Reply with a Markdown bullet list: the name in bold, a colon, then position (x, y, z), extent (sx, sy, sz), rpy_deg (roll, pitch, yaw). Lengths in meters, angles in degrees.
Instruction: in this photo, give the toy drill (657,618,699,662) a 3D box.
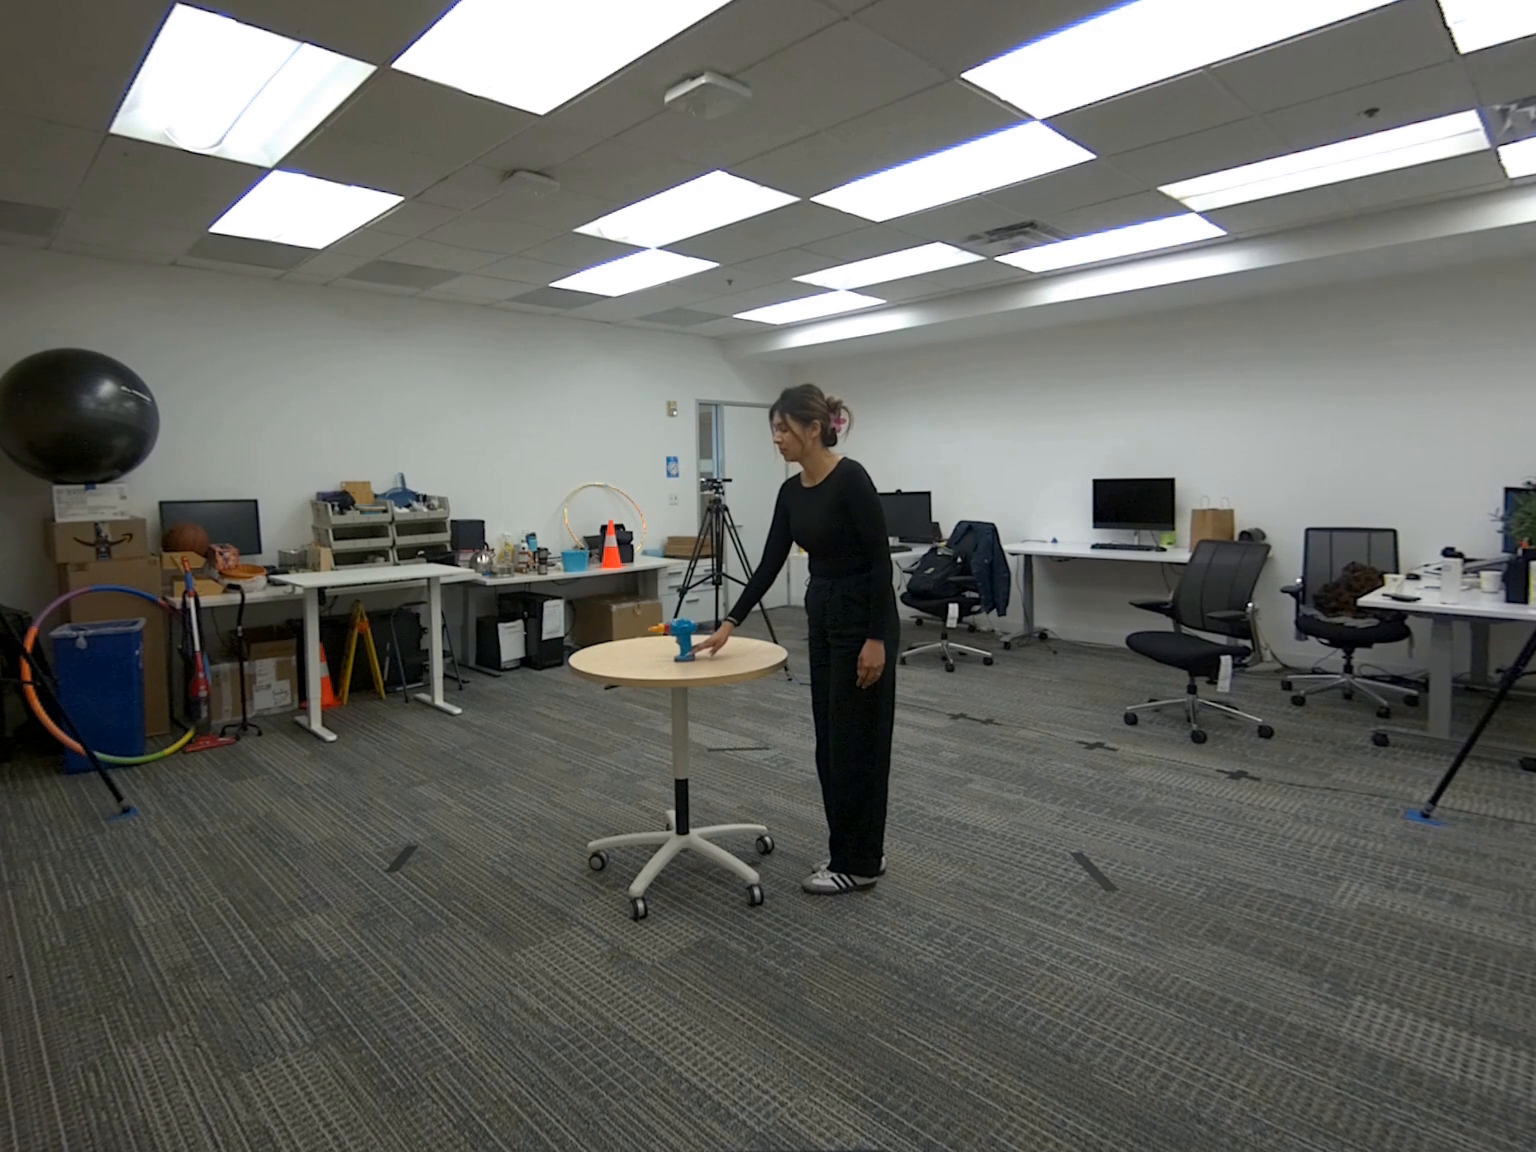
- **toy drill**: position (-0.317, 0.212, 2.899), extent (0.168, 0.146, 0.062), rpy_deg (-2, 2, -8)
